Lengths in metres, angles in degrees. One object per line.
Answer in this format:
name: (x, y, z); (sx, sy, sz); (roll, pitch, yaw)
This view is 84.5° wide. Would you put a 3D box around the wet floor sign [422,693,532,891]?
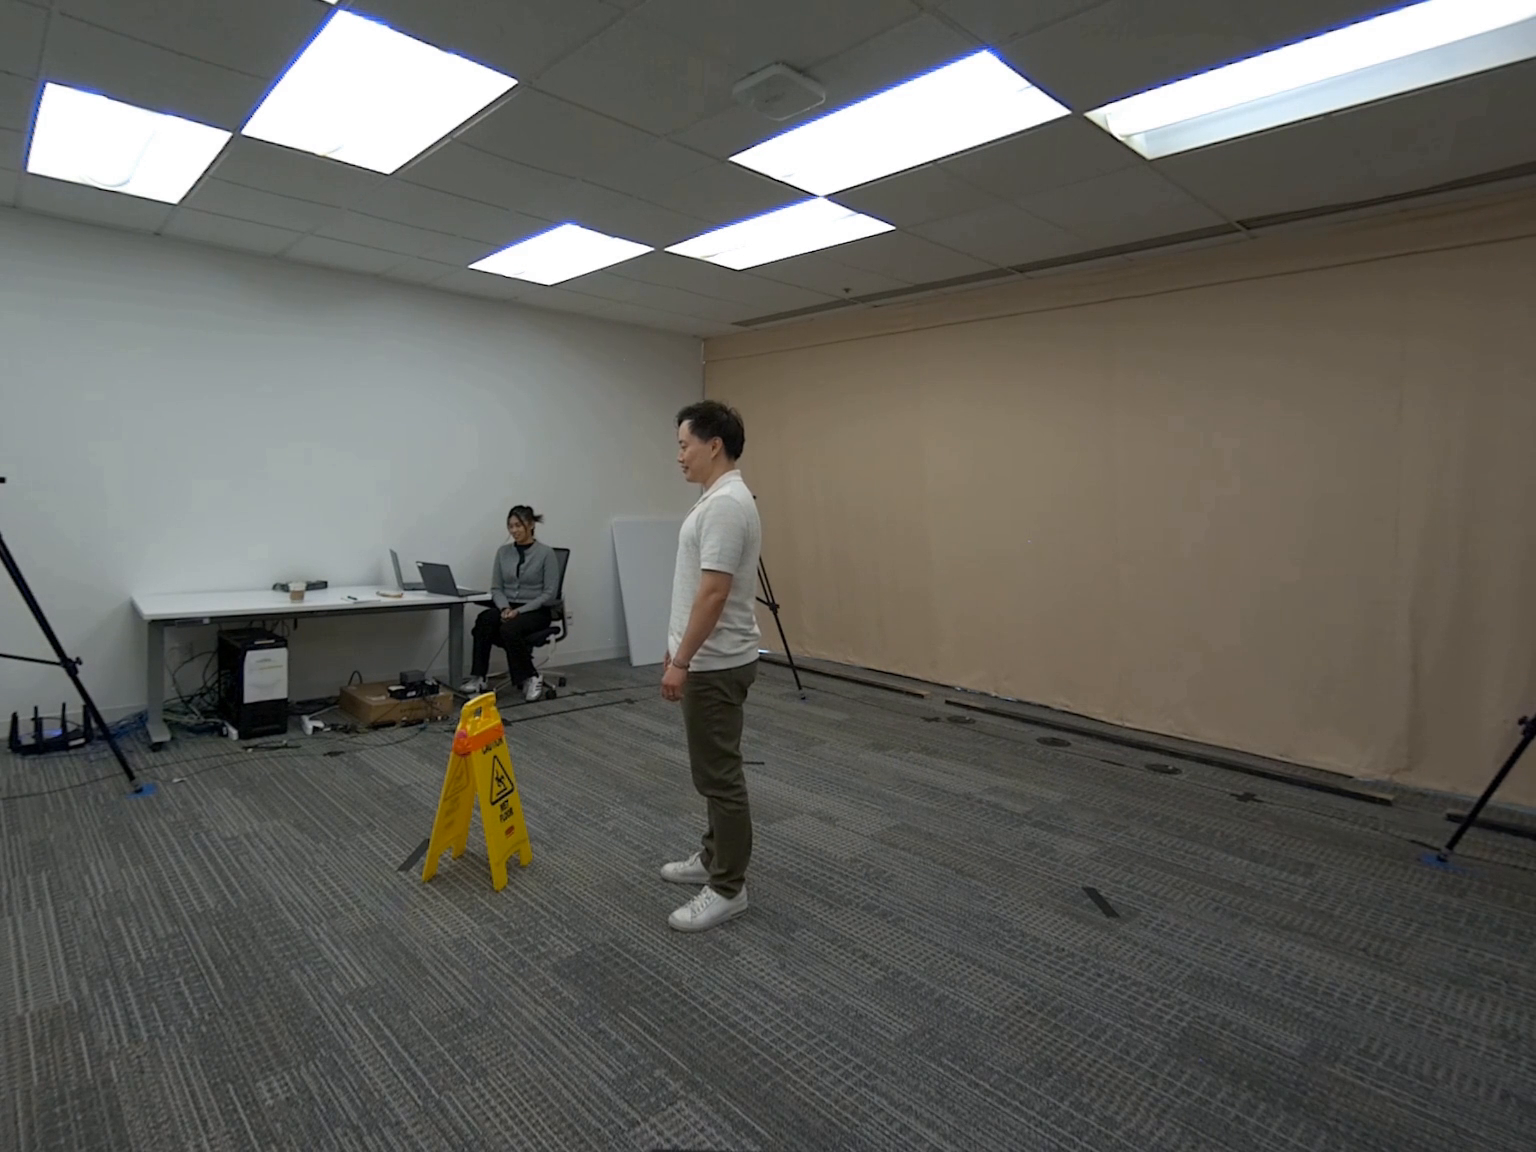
wet floor sign: (-1.059, 0.760, 3.075); (0.292, 0.644, 0.280); (2, 5, 11)
